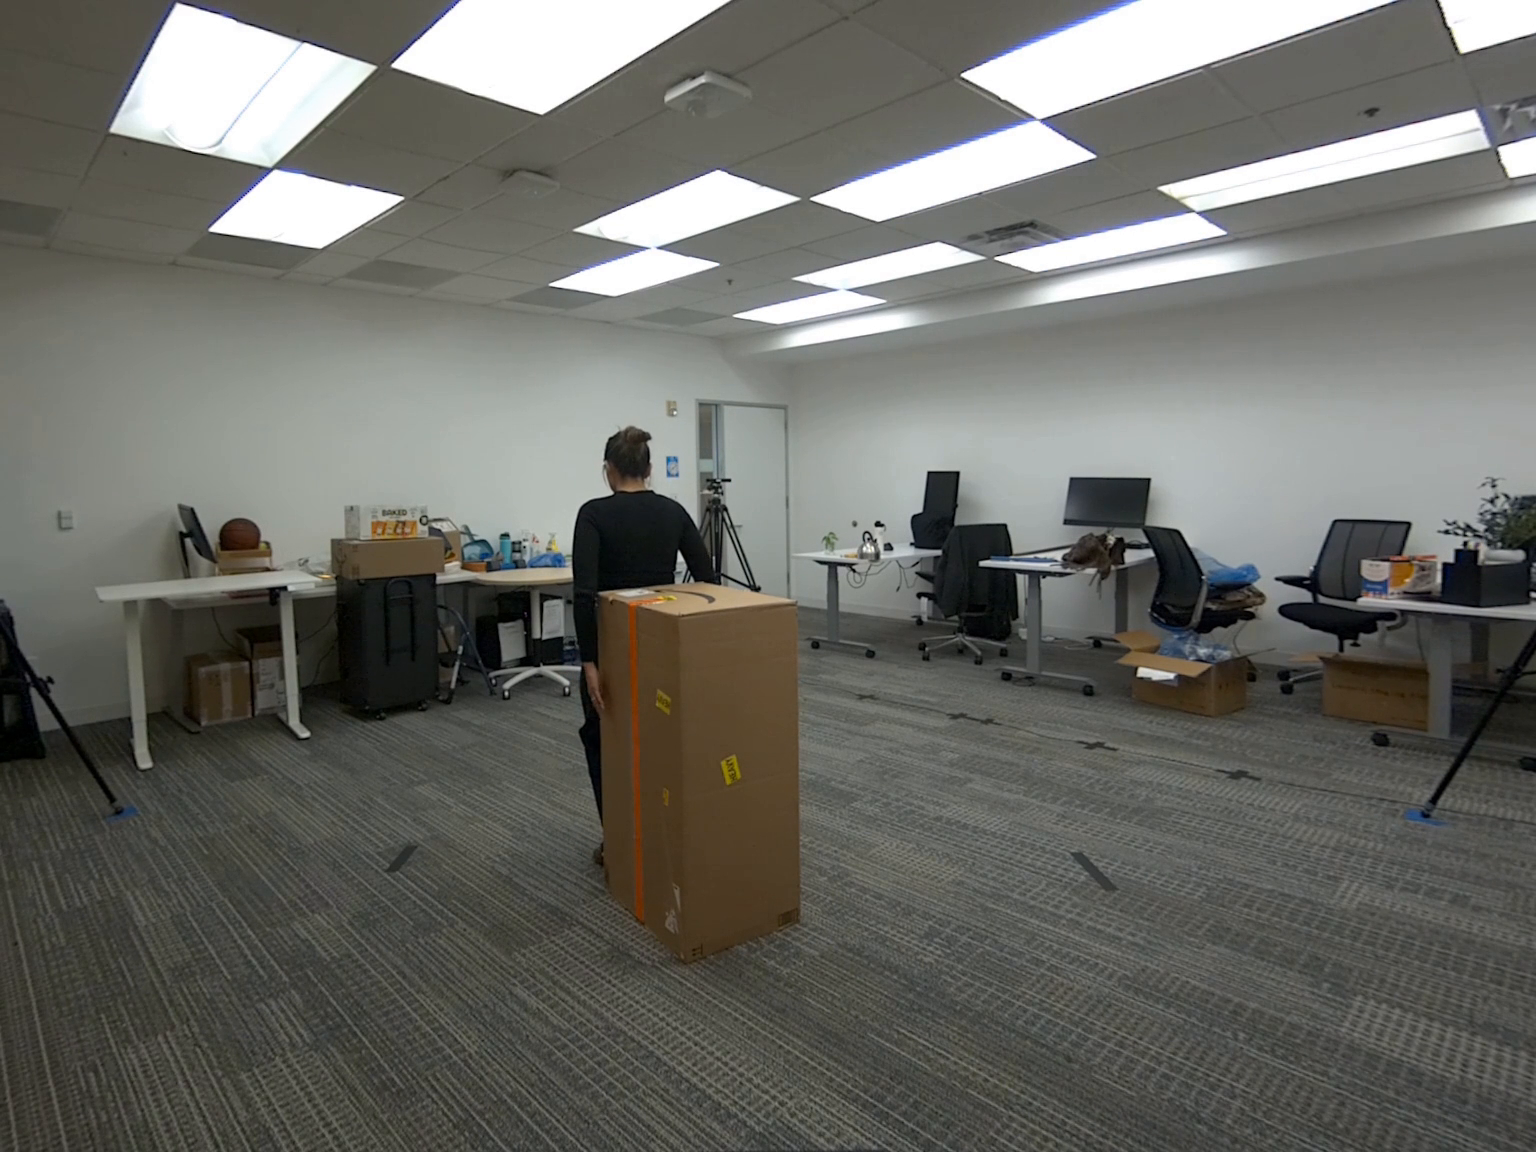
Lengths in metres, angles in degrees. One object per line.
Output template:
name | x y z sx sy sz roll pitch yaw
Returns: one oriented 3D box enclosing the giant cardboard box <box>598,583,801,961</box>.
giant cardboard box | -0.230 0.577 2.775 0.416 1.021 0.594 -4 6 -33
